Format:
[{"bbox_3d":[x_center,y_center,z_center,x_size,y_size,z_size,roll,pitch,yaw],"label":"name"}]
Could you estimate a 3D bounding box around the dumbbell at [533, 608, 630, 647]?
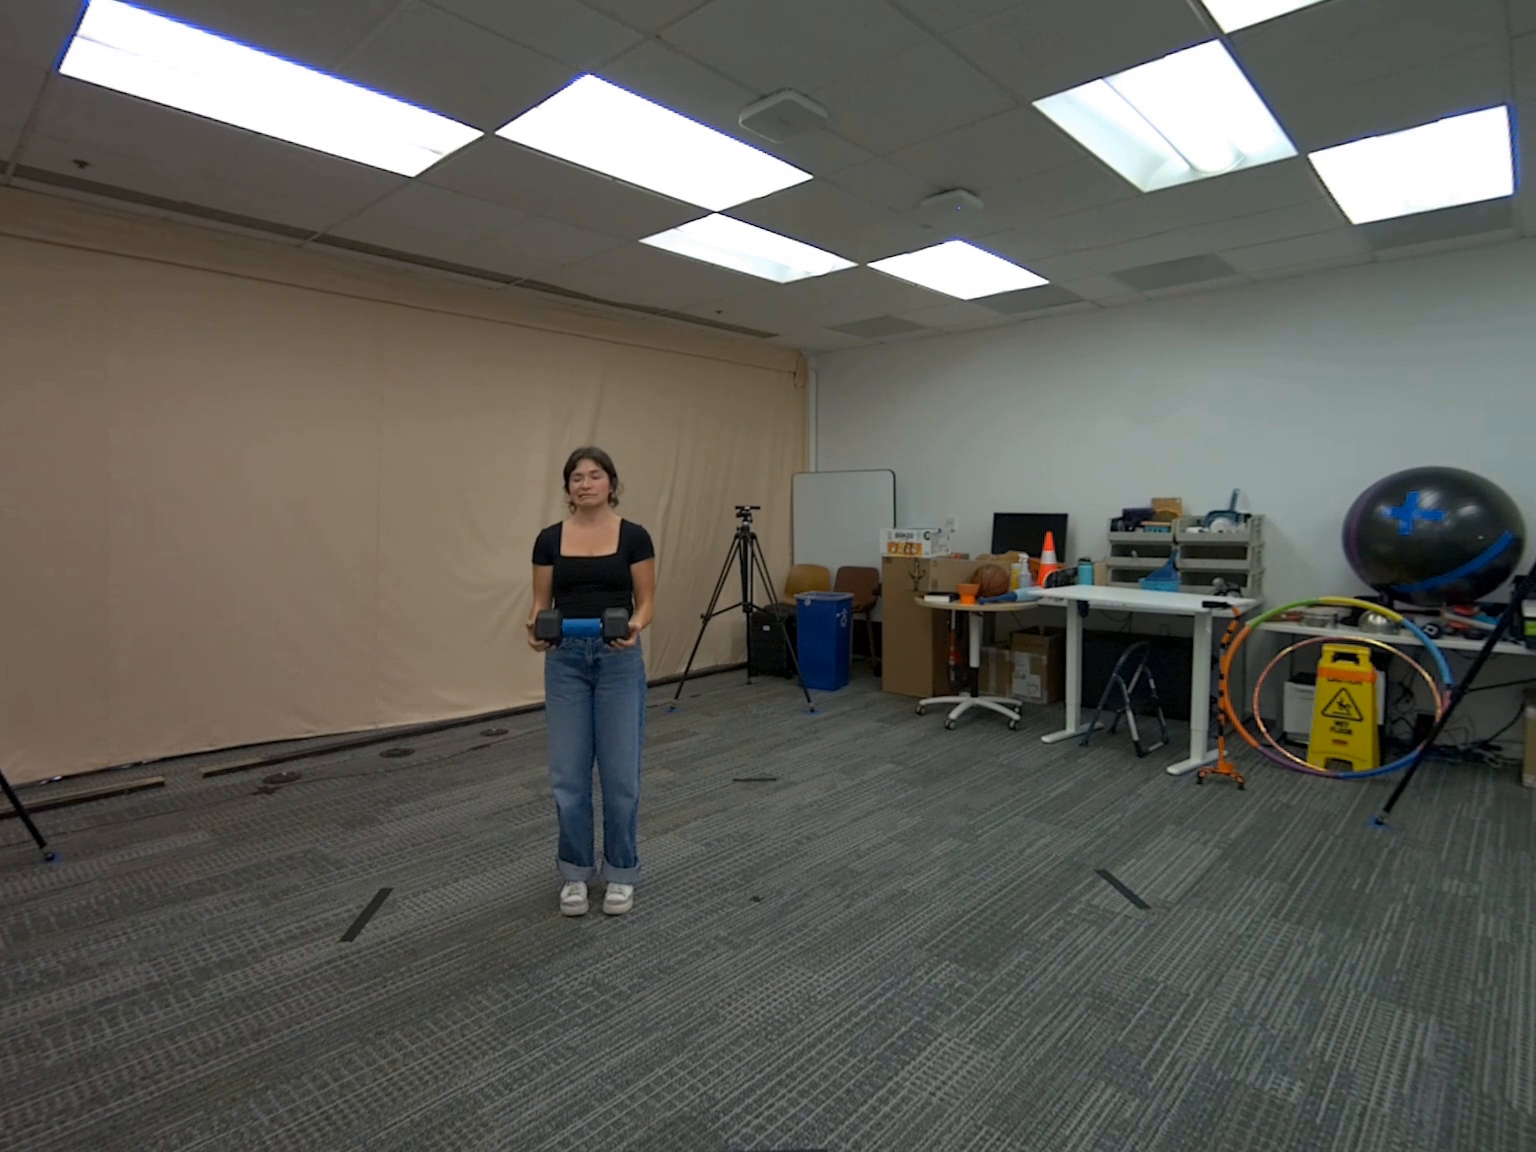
[{"bbox_3d":[-0.601,0.160,2.712,0.292,0.111,0.121,0,-36,-4],"label":"dumbbell"}]
